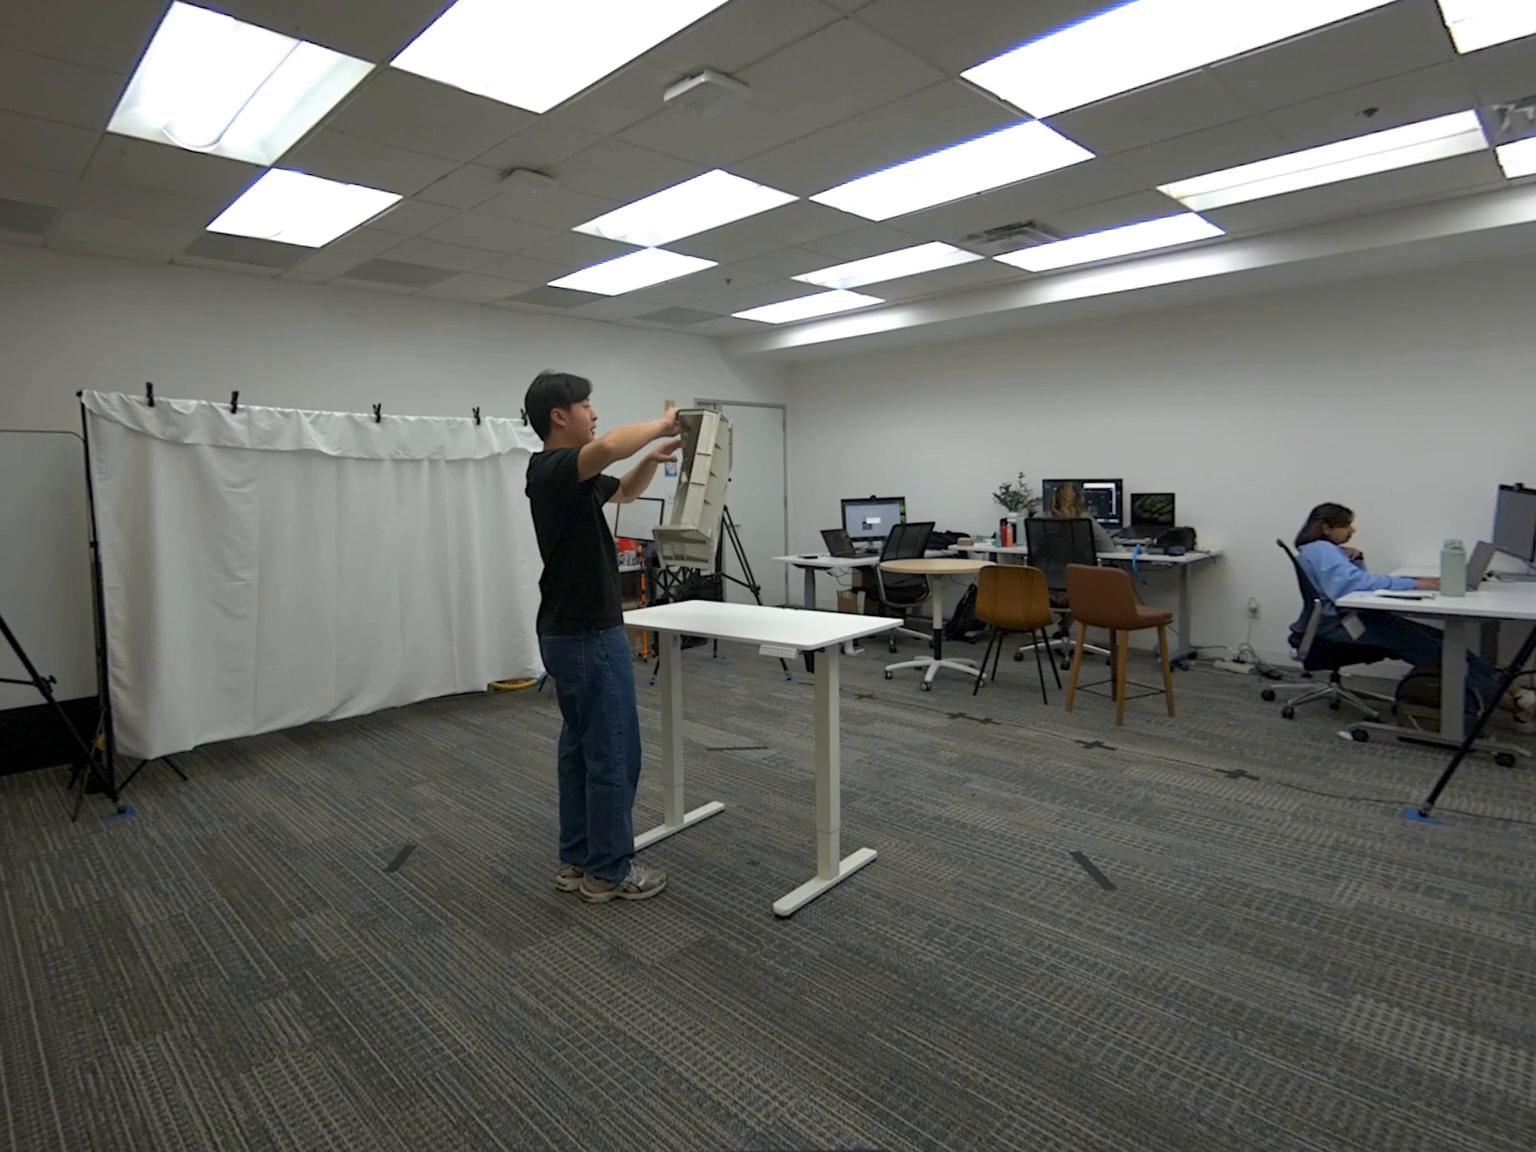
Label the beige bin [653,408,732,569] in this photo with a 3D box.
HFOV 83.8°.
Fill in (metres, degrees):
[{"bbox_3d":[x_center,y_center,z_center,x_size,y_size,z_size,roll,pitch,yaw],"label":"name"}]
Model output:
[{"bbox_3d":[-0.235,-0.272,2.767,0.189,0.429,0.370,7,-21,1],"label":"beige bin"}]
